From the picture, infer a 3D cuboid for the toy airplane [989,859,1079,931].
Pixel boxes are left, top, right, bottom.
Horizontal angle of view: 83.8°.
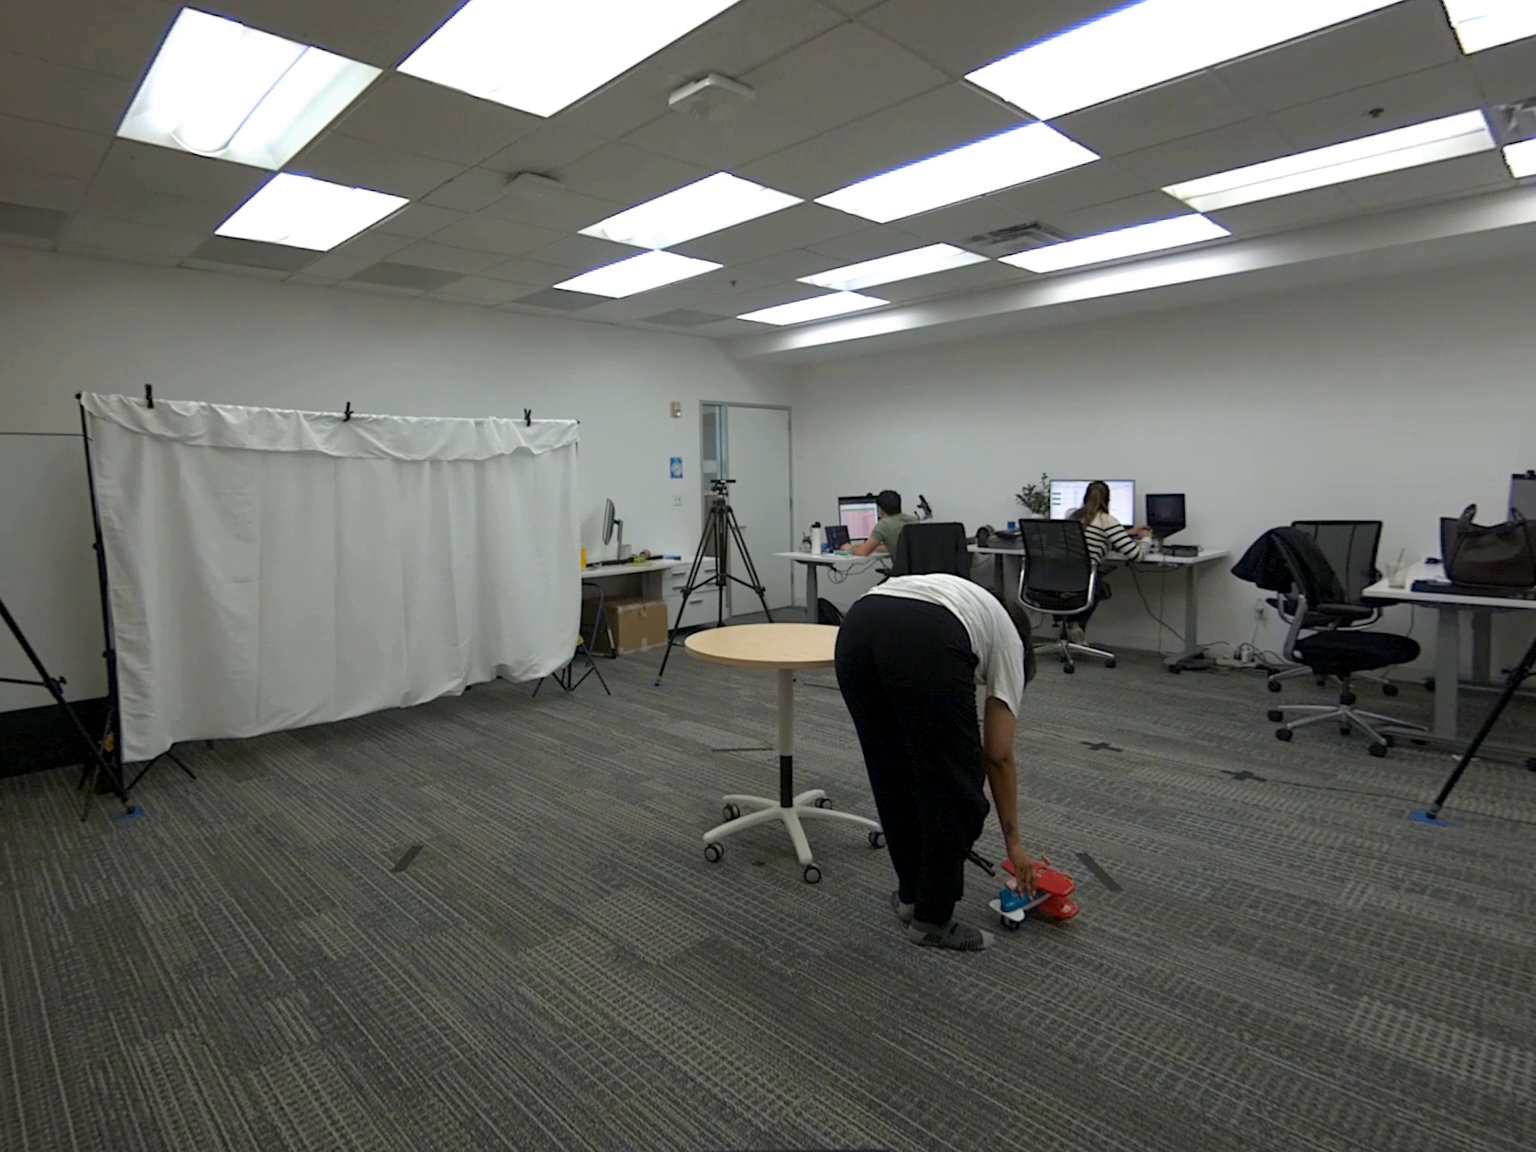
[{"bbox_3d":[0.836,1.005,2.665,0.258,0.156,0.253,4,7,32],"label":"toy airplane"}]
